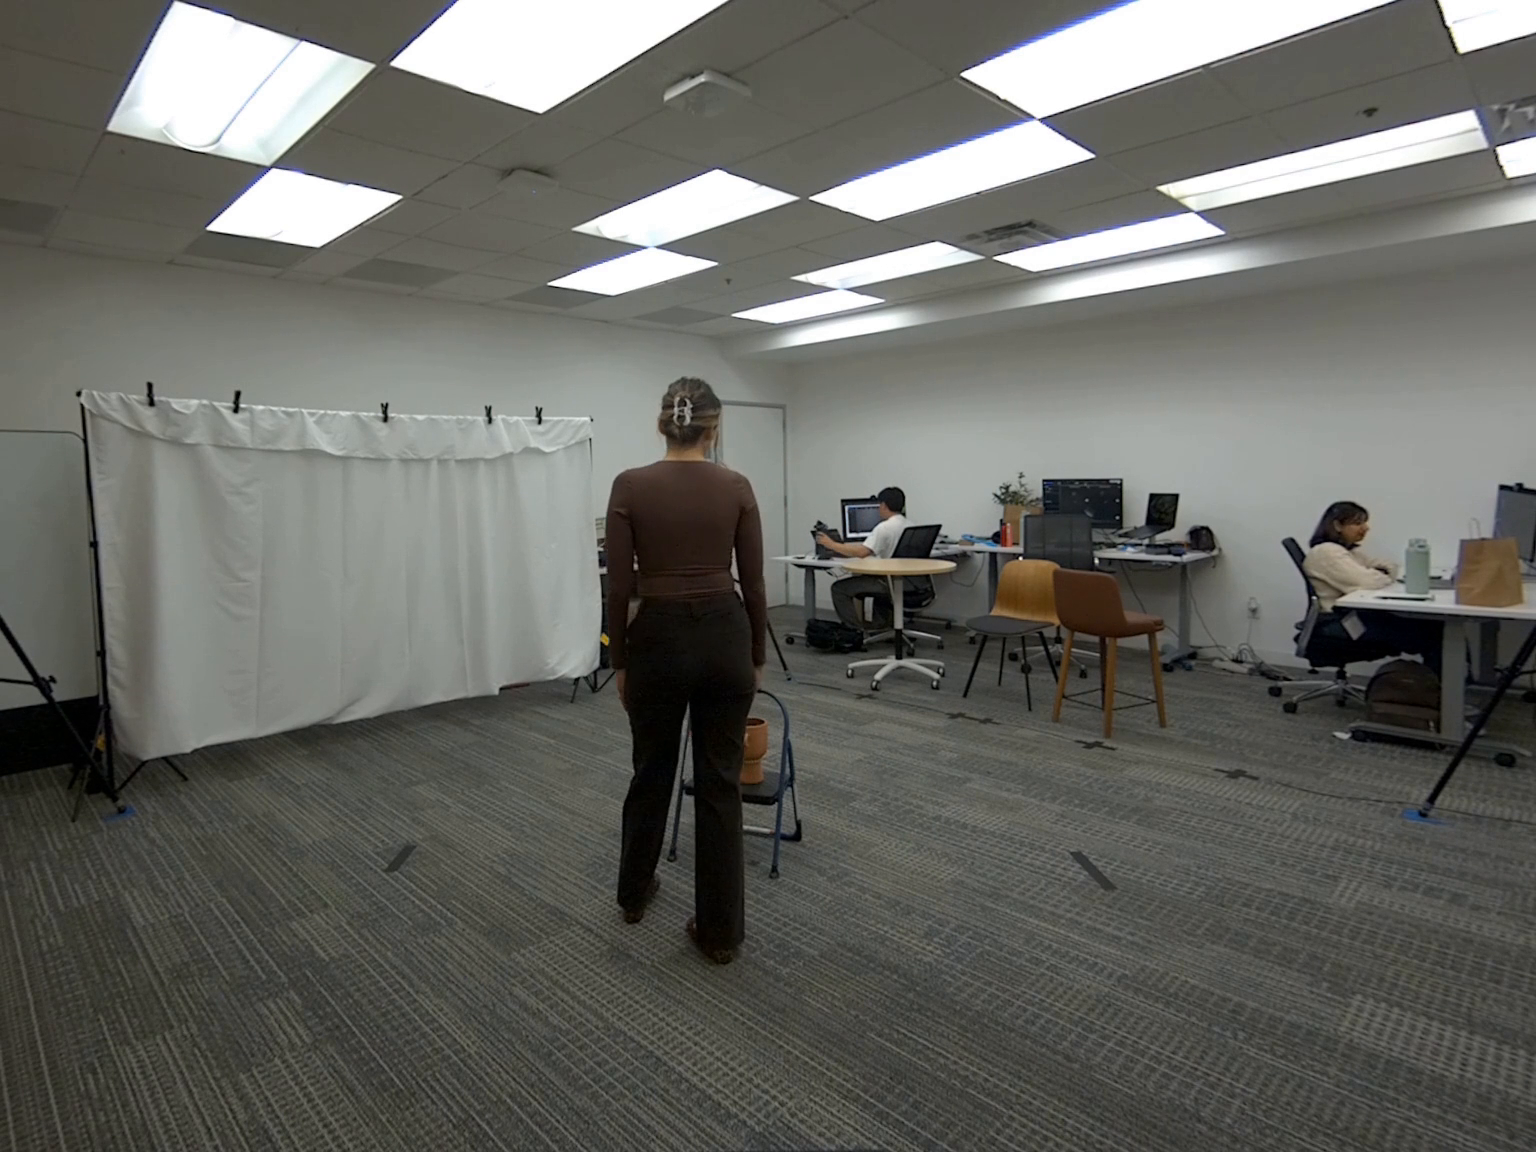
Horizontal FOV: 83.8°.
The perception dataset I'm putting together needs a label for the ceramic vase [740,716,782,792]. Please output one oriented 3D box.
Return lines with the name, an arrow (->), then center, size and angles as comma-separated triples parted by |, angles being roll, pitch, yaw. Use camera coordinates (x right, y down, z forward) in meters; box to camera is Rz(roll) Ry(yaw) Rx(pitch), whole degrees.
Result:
ceramic vase -> -0.056, 0.661, 3.212 | 0.155, 0.219, 0.139 | -4, 5, -37
